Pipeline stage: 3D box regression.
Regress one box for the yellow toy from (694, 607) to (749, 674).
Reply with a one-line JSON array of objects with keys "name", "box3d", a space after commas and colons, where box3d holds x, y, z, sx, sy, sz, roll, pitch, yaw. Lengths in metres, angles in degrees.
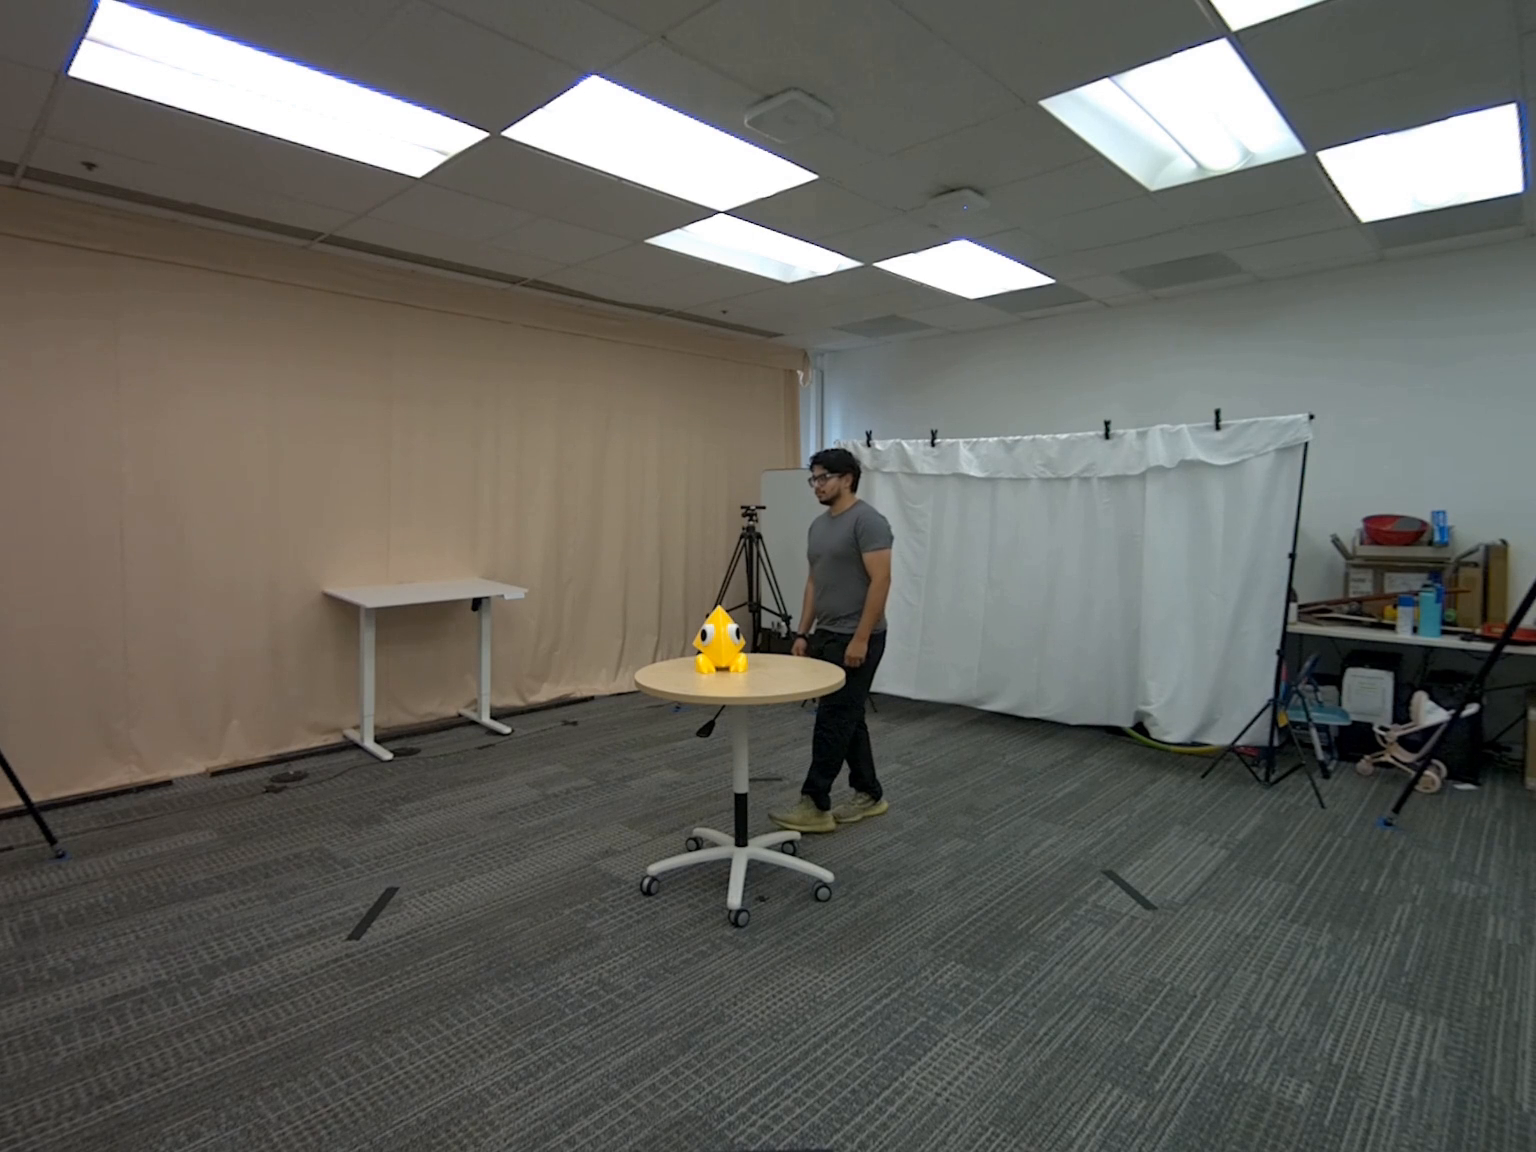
[{"name": "yellow toy", "box3d": [-0.176, 0.233, 3.157, 0.204, 0.230, 0.194, 0, 4, -5]}]
